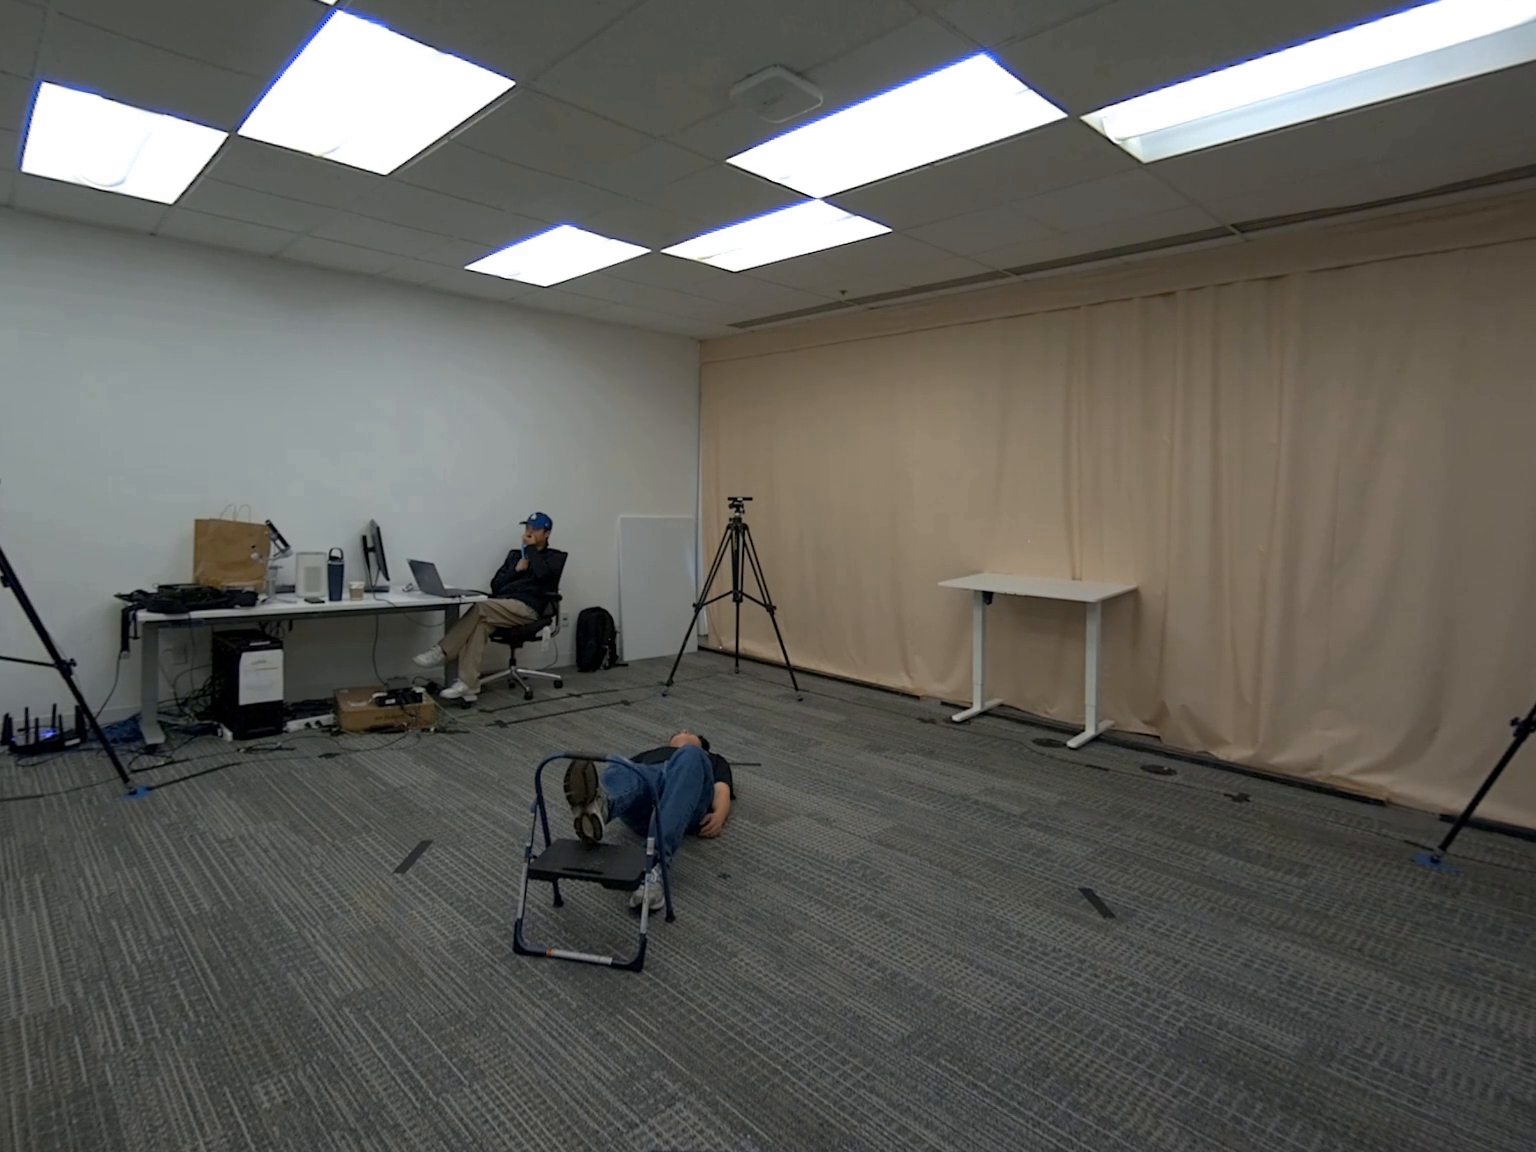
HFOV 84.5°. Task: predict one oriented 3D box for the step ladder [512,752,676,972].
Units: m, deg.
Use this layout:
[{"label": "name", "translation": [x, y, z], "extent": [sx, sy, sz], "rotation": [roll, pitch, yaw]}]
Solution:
[{"label": "step ladder", "translation": [-0.540, 0.840, 2.649], "extent": [0.434, 0.605, 0.347], "rotation": [2, 3, 9]}]
